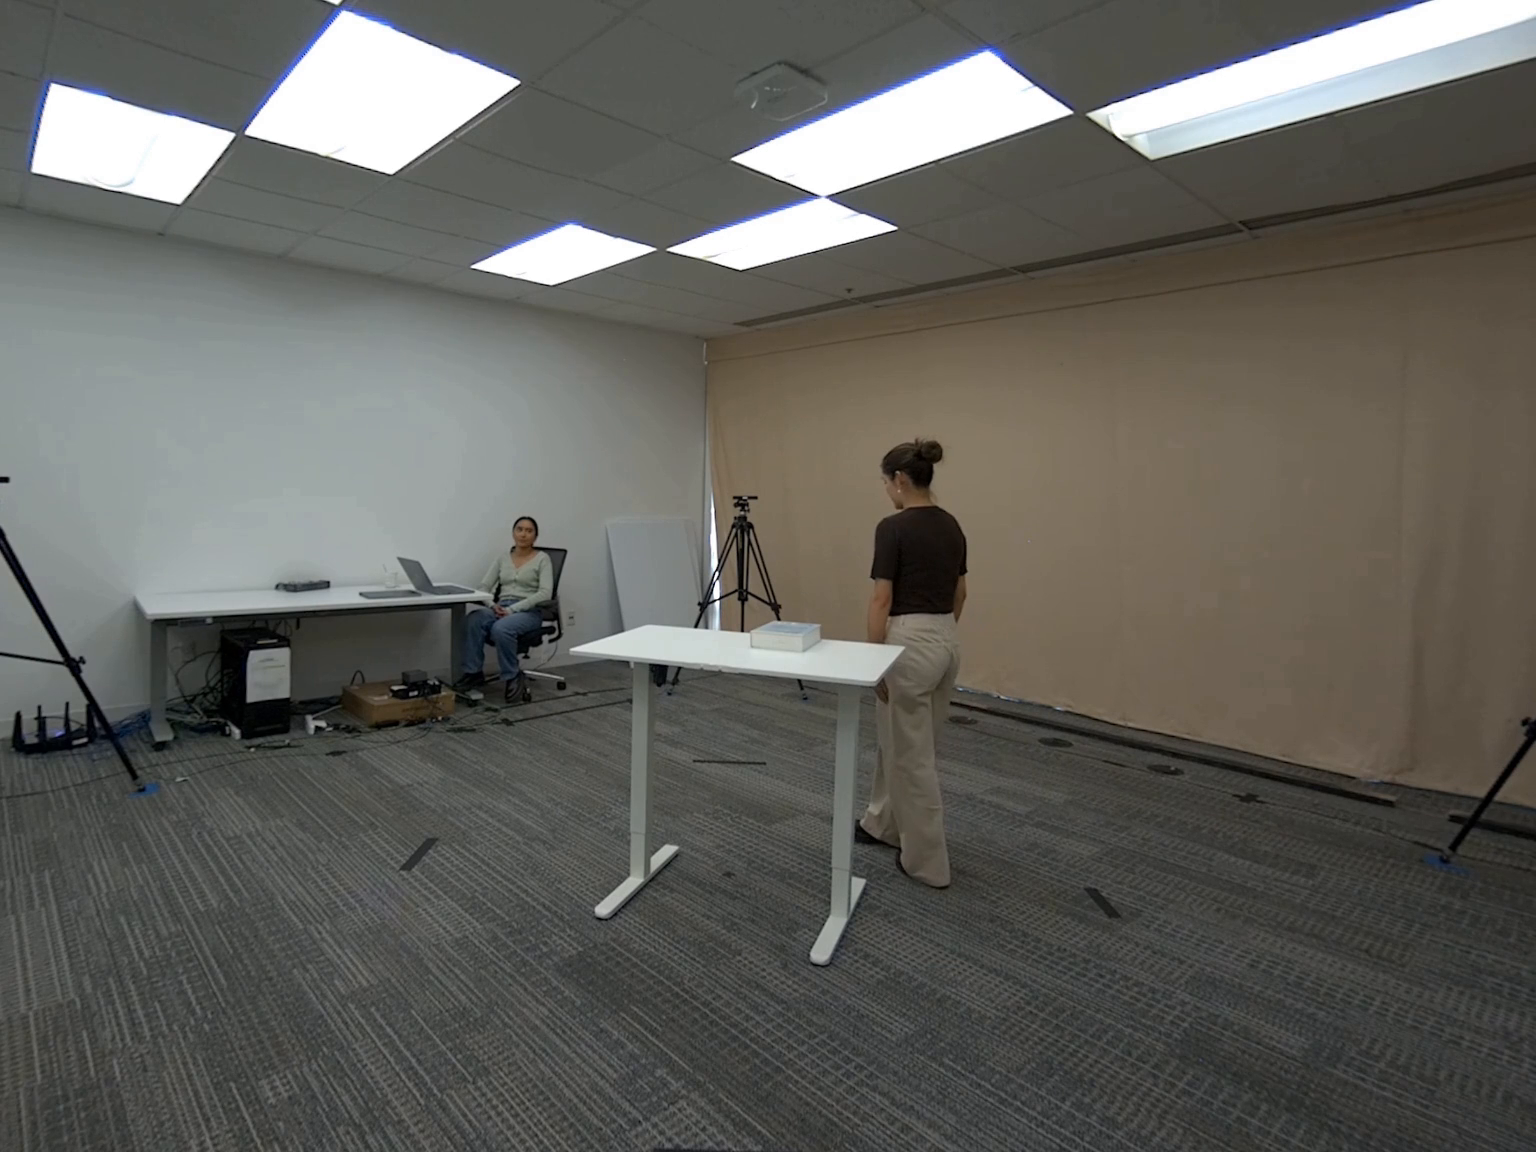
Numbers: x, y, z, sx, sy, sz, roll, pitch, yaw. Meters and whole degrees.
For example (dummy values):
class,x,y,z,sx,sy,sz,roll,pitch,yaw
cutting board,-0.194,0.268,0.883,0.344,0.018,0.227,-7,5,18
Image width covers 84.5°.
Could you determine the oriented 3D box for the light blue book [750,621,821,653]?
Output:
class,x,y,z,sx,sy,sz,roll,pitch,yaw
light blue book,0.070,0.209,2.952,0.194,0.059,0.258,5,6,18
